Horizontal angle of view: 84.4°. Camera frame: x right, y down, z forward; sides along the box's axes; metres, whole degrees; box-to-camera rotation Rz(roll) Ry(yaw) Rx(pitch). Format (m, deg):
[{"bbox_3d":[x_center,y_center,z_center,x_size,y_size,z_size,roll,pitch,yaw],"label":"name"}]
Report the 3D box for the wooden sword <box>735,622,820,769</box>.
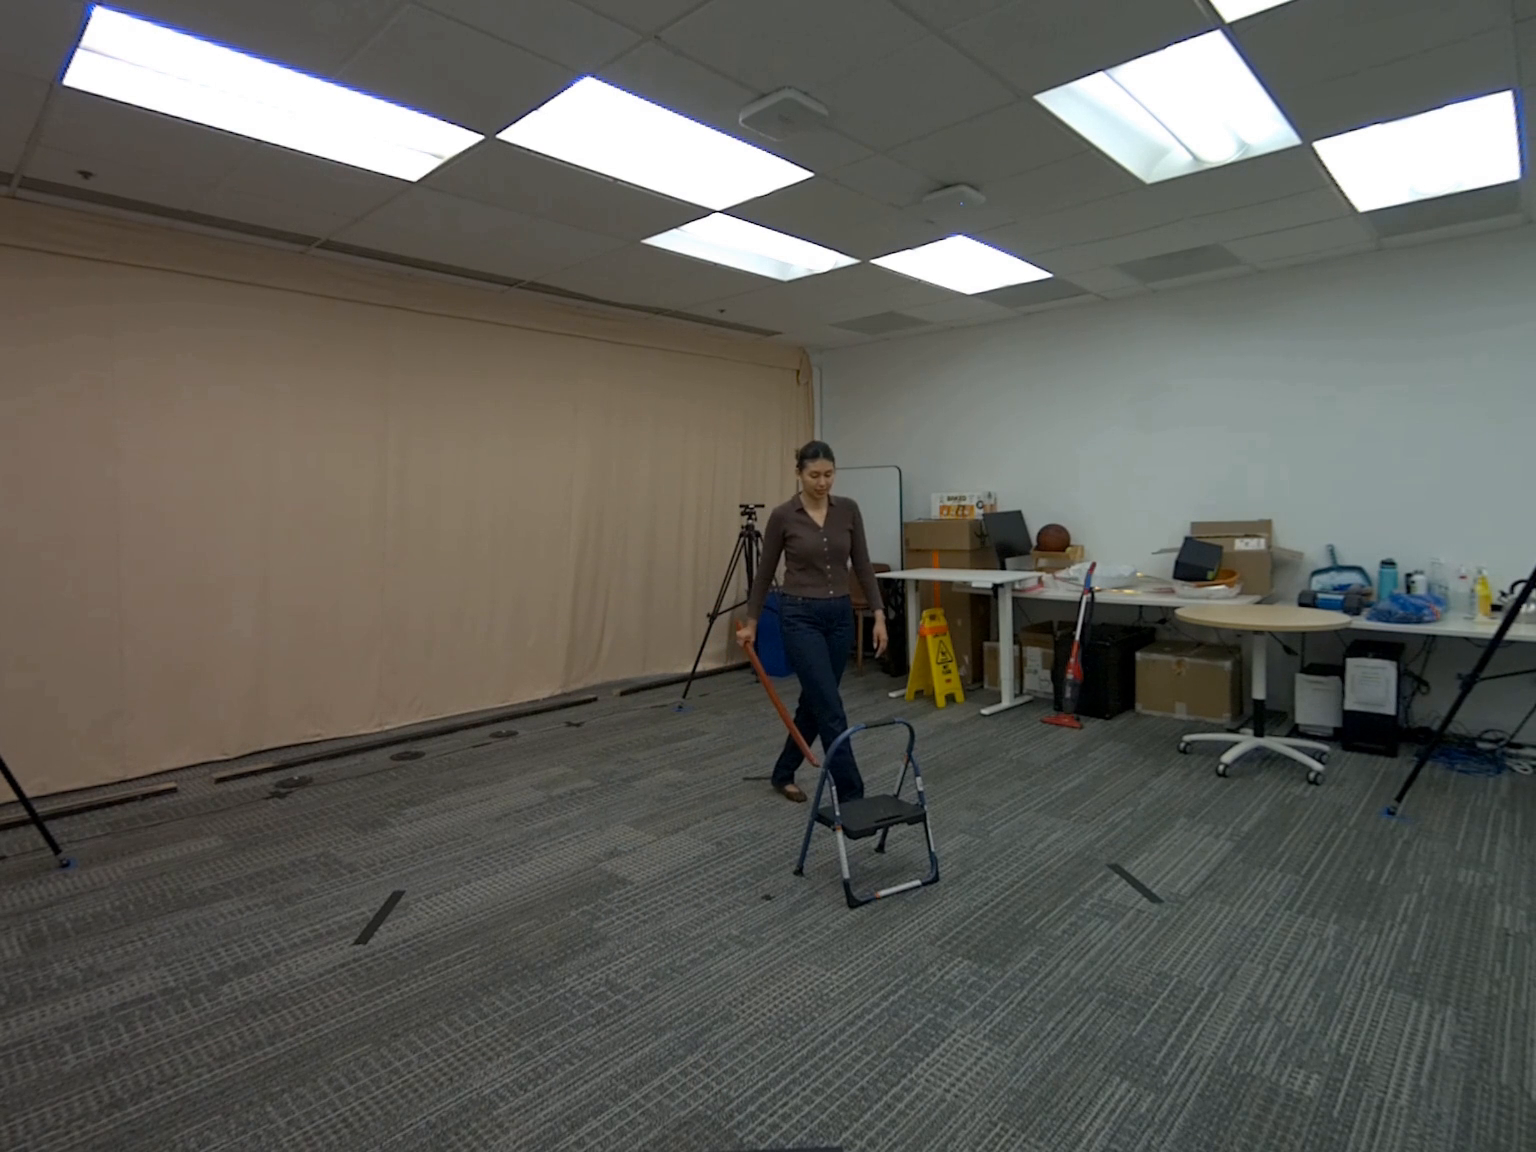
[{"bbox_3d":[0.030,0.470,3.635,0.023,0.051,1.056,42,9,-34],"label":"wooden sword"}]
